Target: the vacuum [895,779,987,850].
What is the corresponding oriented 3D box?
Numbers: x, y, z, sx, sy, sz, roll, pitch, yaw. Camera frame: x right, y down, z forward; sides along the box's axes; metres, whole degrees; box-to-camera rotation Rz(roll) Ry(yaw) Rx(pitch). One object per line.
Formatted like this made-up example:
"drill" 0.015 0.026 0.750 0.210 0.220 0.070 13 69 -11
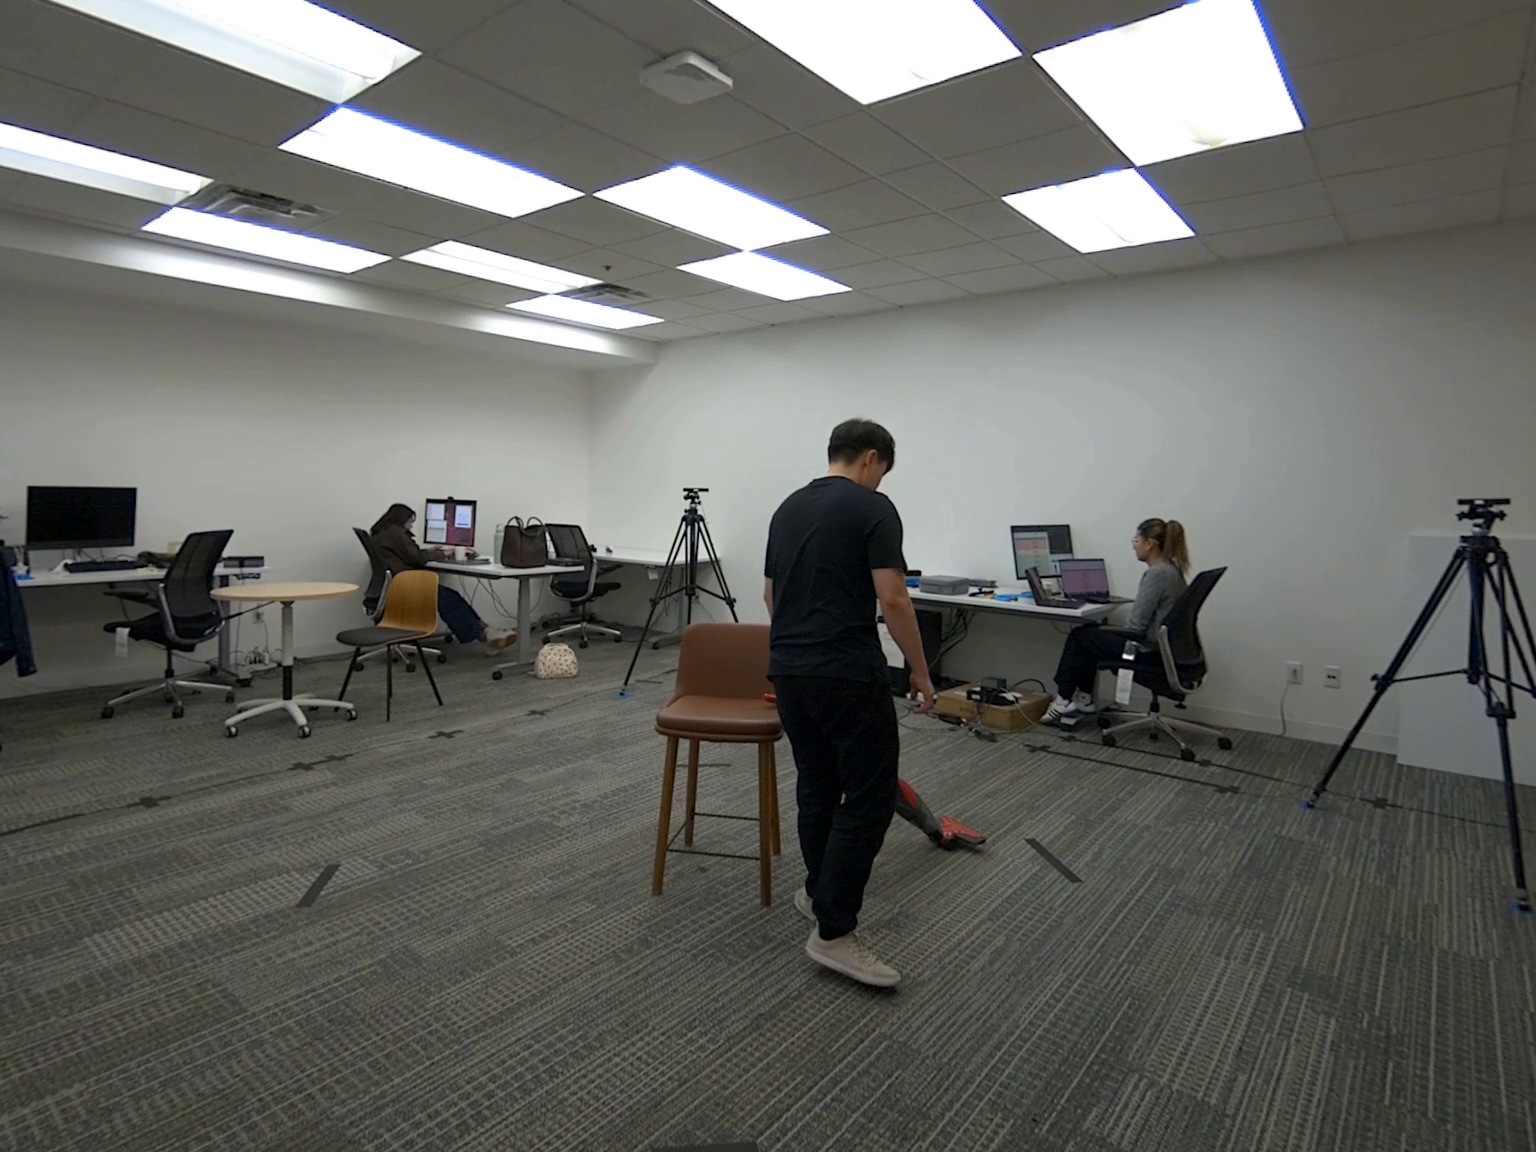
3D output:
"vacuum" 0.368 0.736 3.216 1.019 0.144 0.259 40 -14 -22
